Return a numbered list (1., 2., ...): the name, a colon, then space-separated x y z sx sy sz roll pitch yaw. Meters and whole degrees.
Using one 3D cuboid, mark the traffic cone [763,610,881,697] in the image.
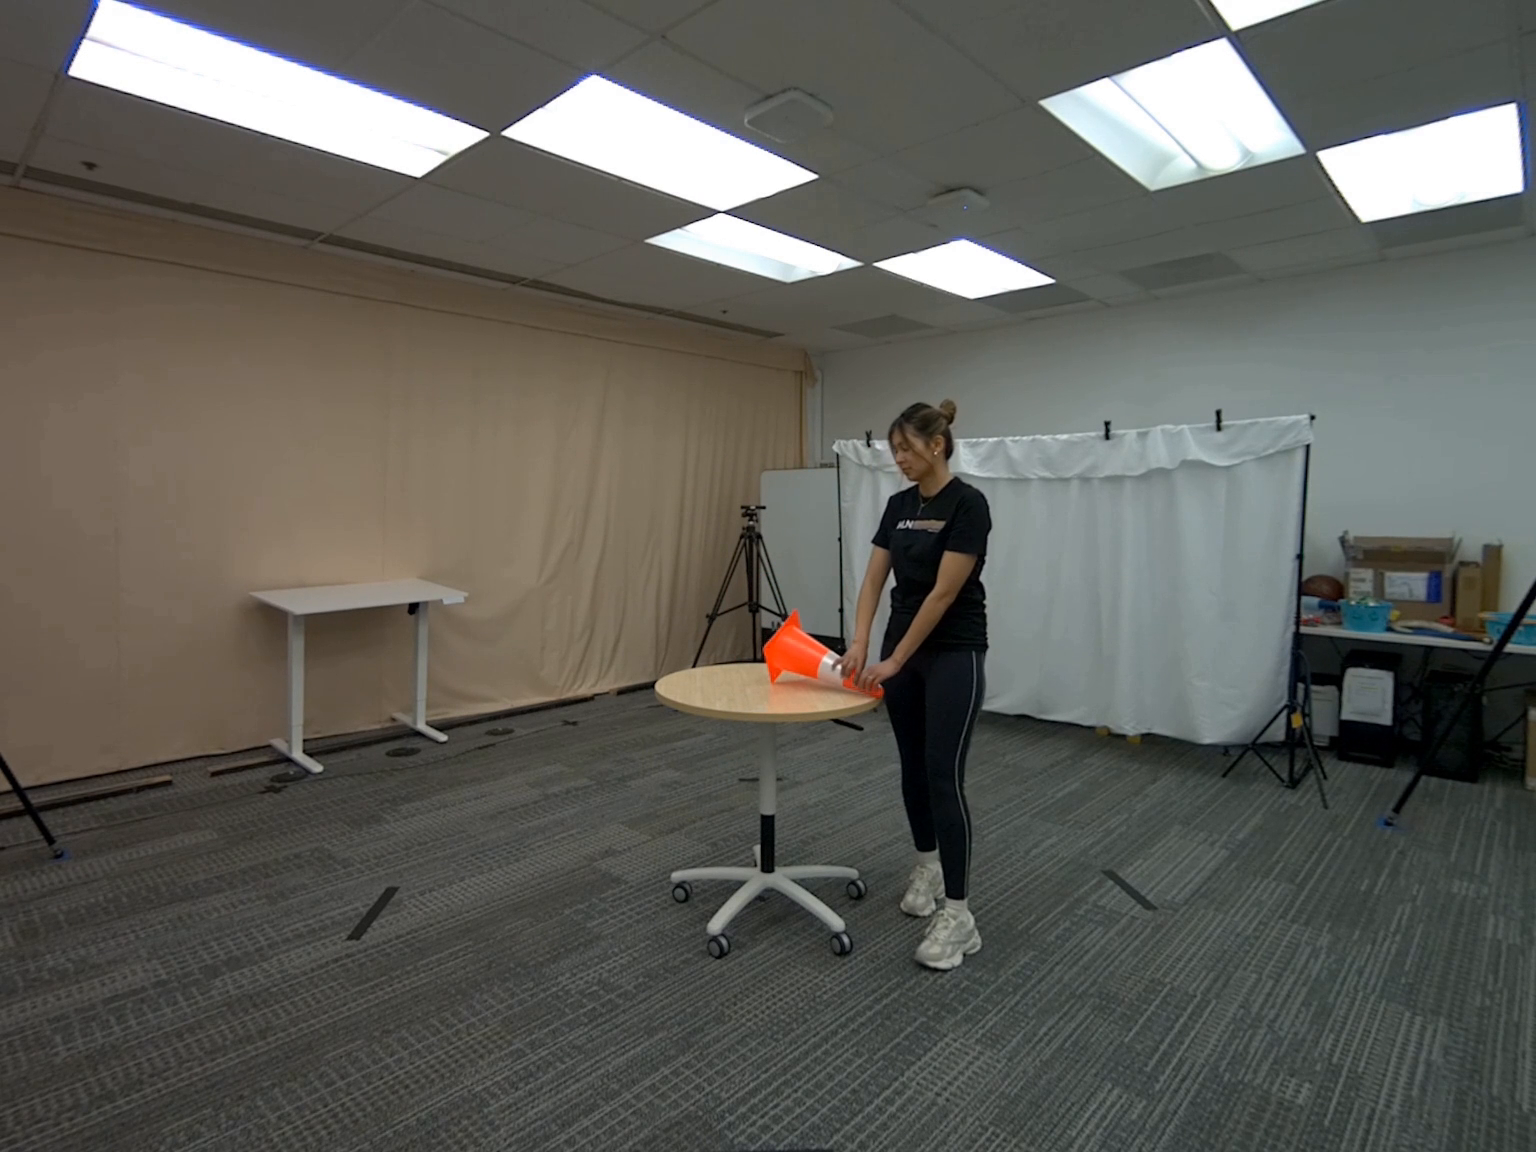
1. traffic cone: 0.214 0.309 2.779 0.396 0.198 0.203 23 55 30
